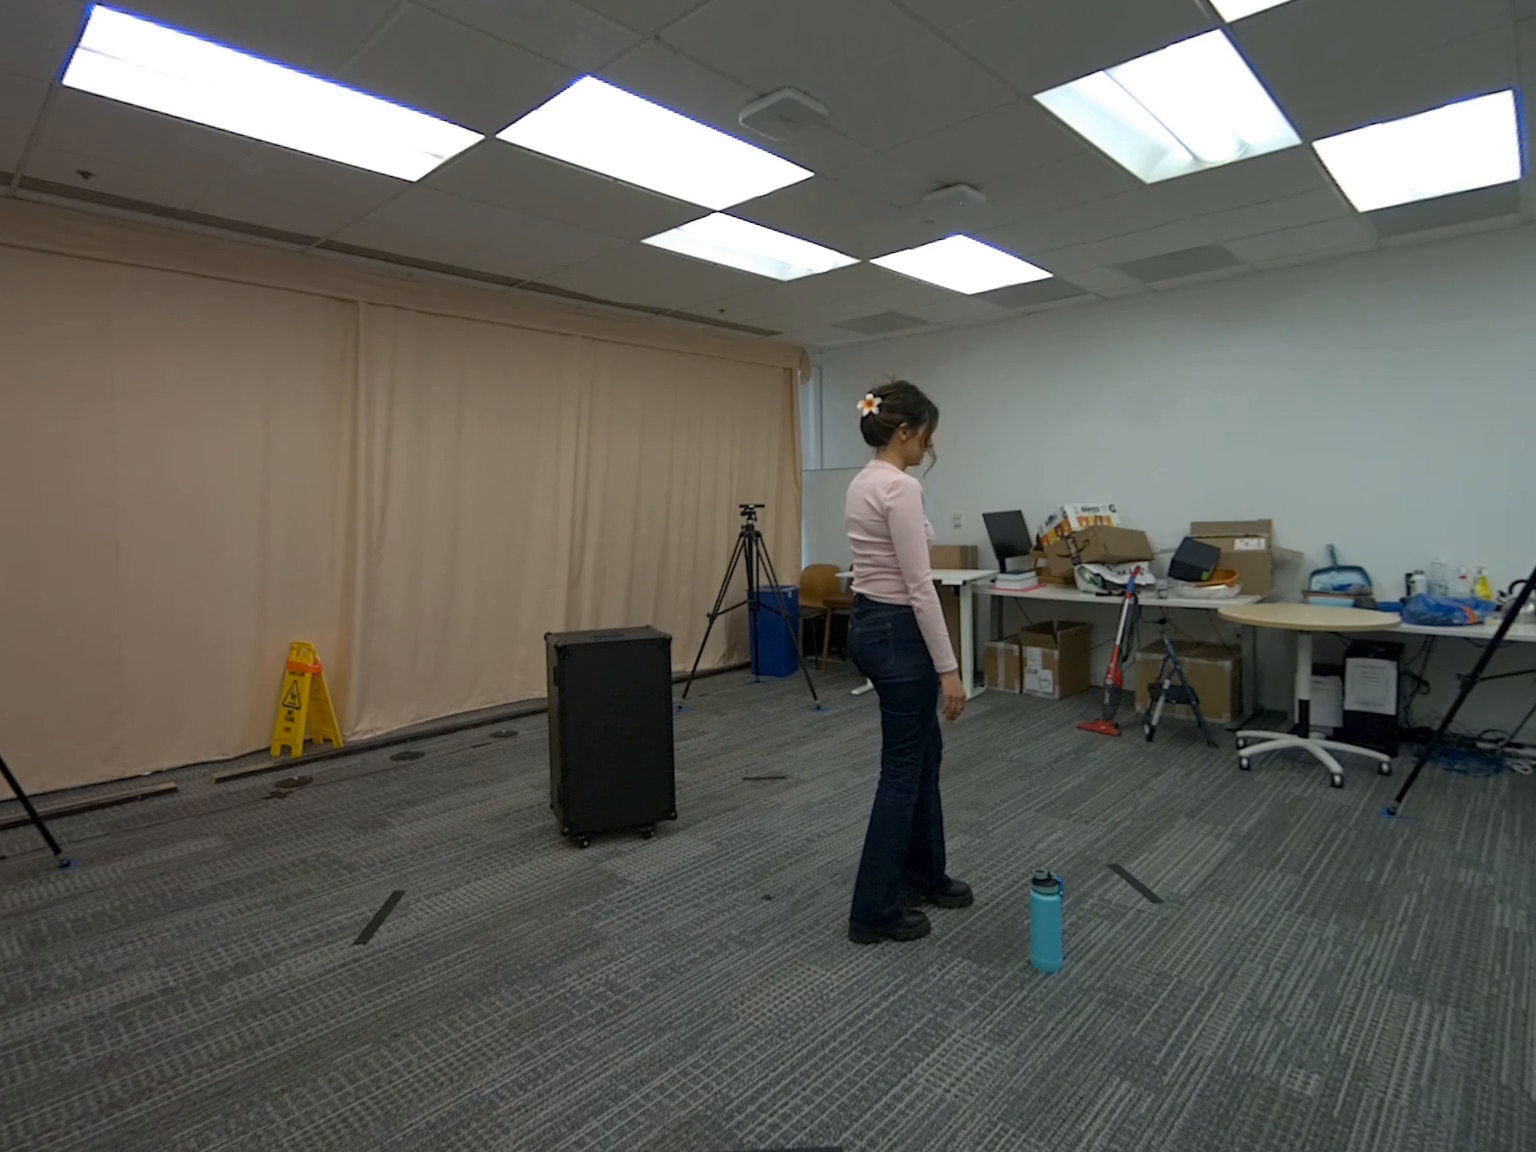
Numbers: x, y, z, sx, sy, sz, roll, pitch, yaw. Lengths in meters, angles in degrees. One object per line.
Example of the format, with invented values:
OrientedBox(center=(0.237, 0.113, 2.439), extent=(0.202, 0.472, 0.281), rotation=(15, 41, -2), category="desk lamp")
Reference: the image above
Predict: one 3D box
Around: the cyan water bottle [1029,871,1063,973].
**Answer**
OrientedBox(center=(0.844, 1.027, 2.512), extent=(0.092, 0.283, 0.092), rotation=(0, 3, -2), category="cyan water bottle")
